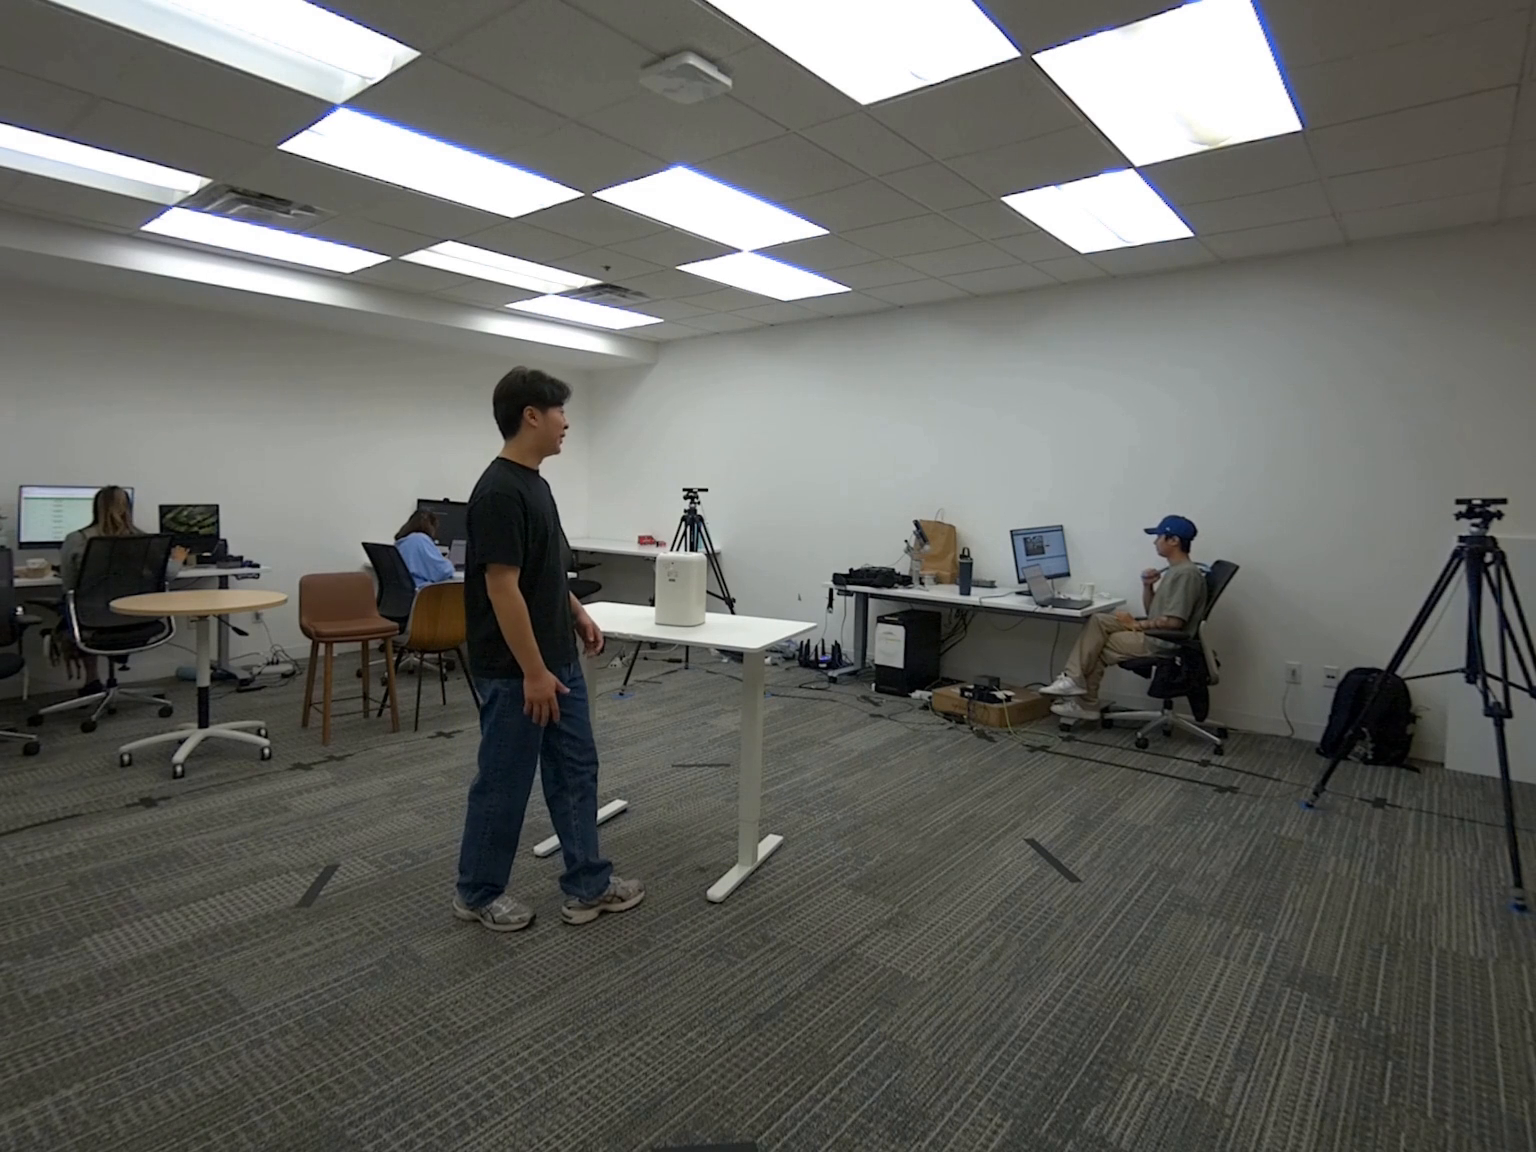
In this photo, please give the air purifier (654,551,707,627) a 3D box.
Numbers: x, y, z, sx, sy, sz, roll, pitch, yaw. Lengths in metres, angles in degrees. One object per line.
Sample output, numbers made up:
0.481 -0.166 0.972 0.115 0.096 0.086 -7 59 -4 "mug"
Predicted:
-0.335 0.044 3.202 0.175 0.264 0.169 3 5 19 "air purifier"
